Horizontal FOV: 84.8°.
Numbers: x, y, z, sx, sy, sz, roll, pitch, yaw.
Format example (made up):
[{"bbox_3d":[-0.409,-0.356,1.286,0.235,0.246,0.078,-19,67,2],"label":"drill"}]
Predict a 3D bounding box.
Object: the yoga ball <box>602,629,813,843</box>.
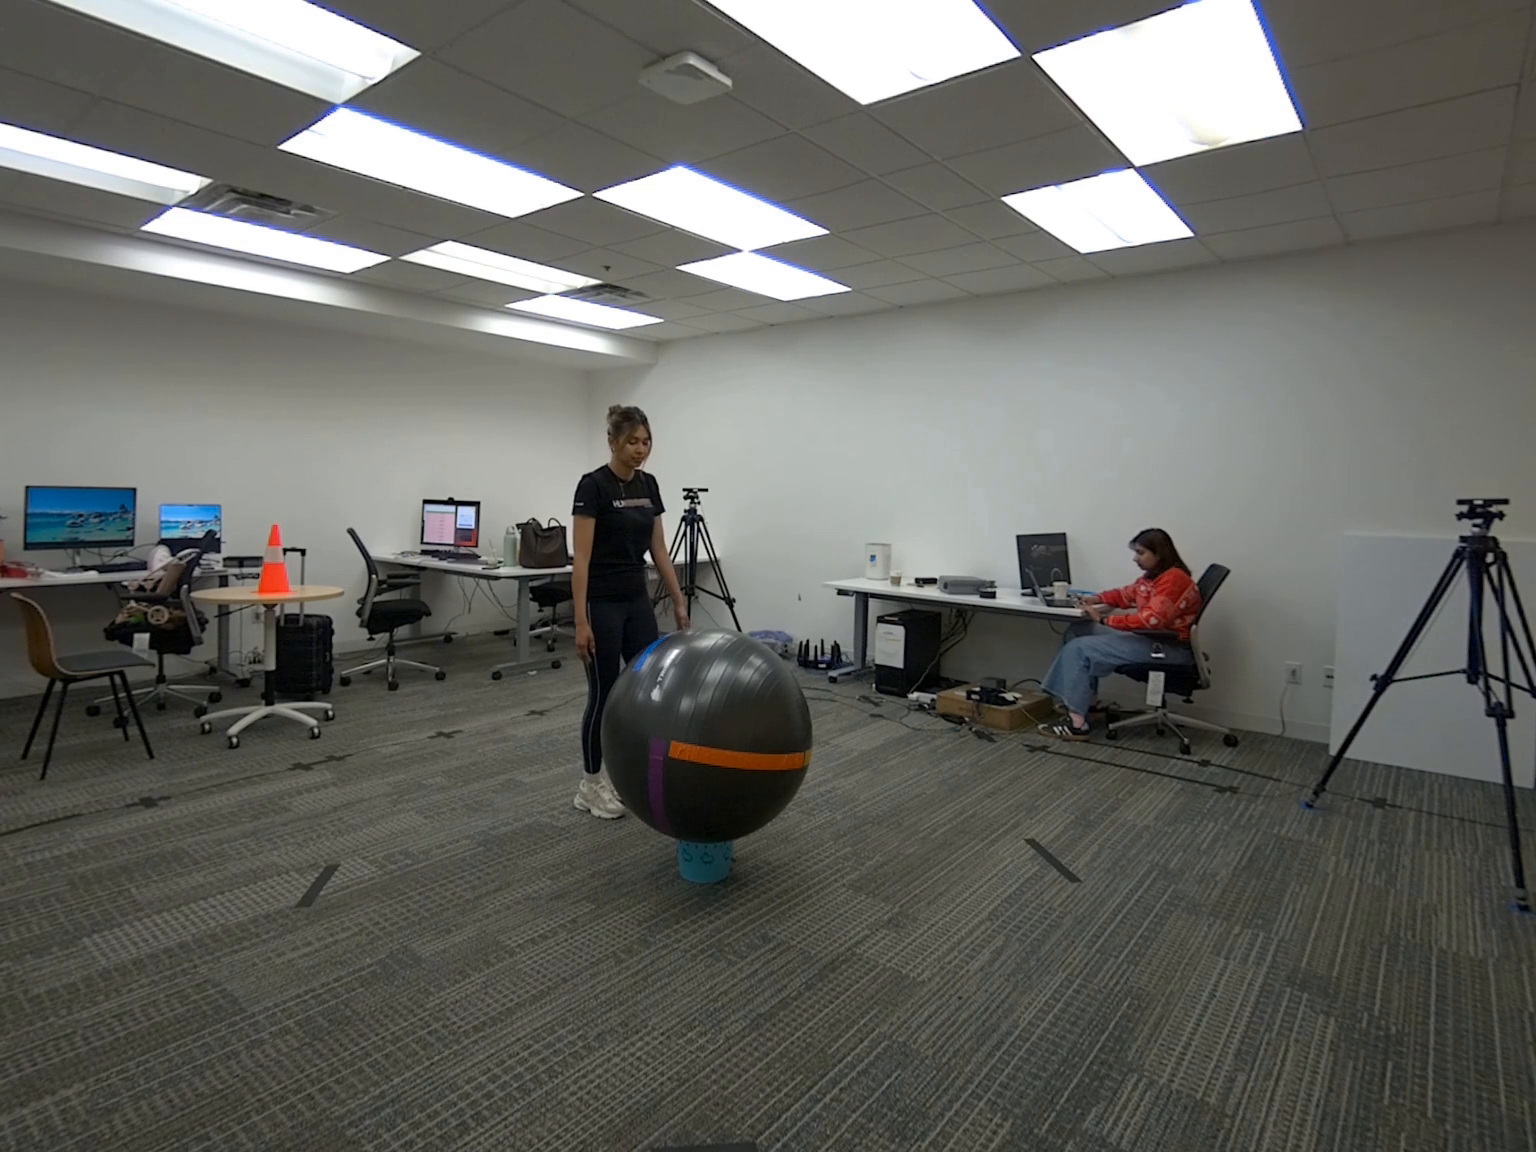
[{"bbox_3d":[-0.232,0.560,3.066,0.757,0.756,0.761,1,4,-2],"label":"yoga ball"}]
